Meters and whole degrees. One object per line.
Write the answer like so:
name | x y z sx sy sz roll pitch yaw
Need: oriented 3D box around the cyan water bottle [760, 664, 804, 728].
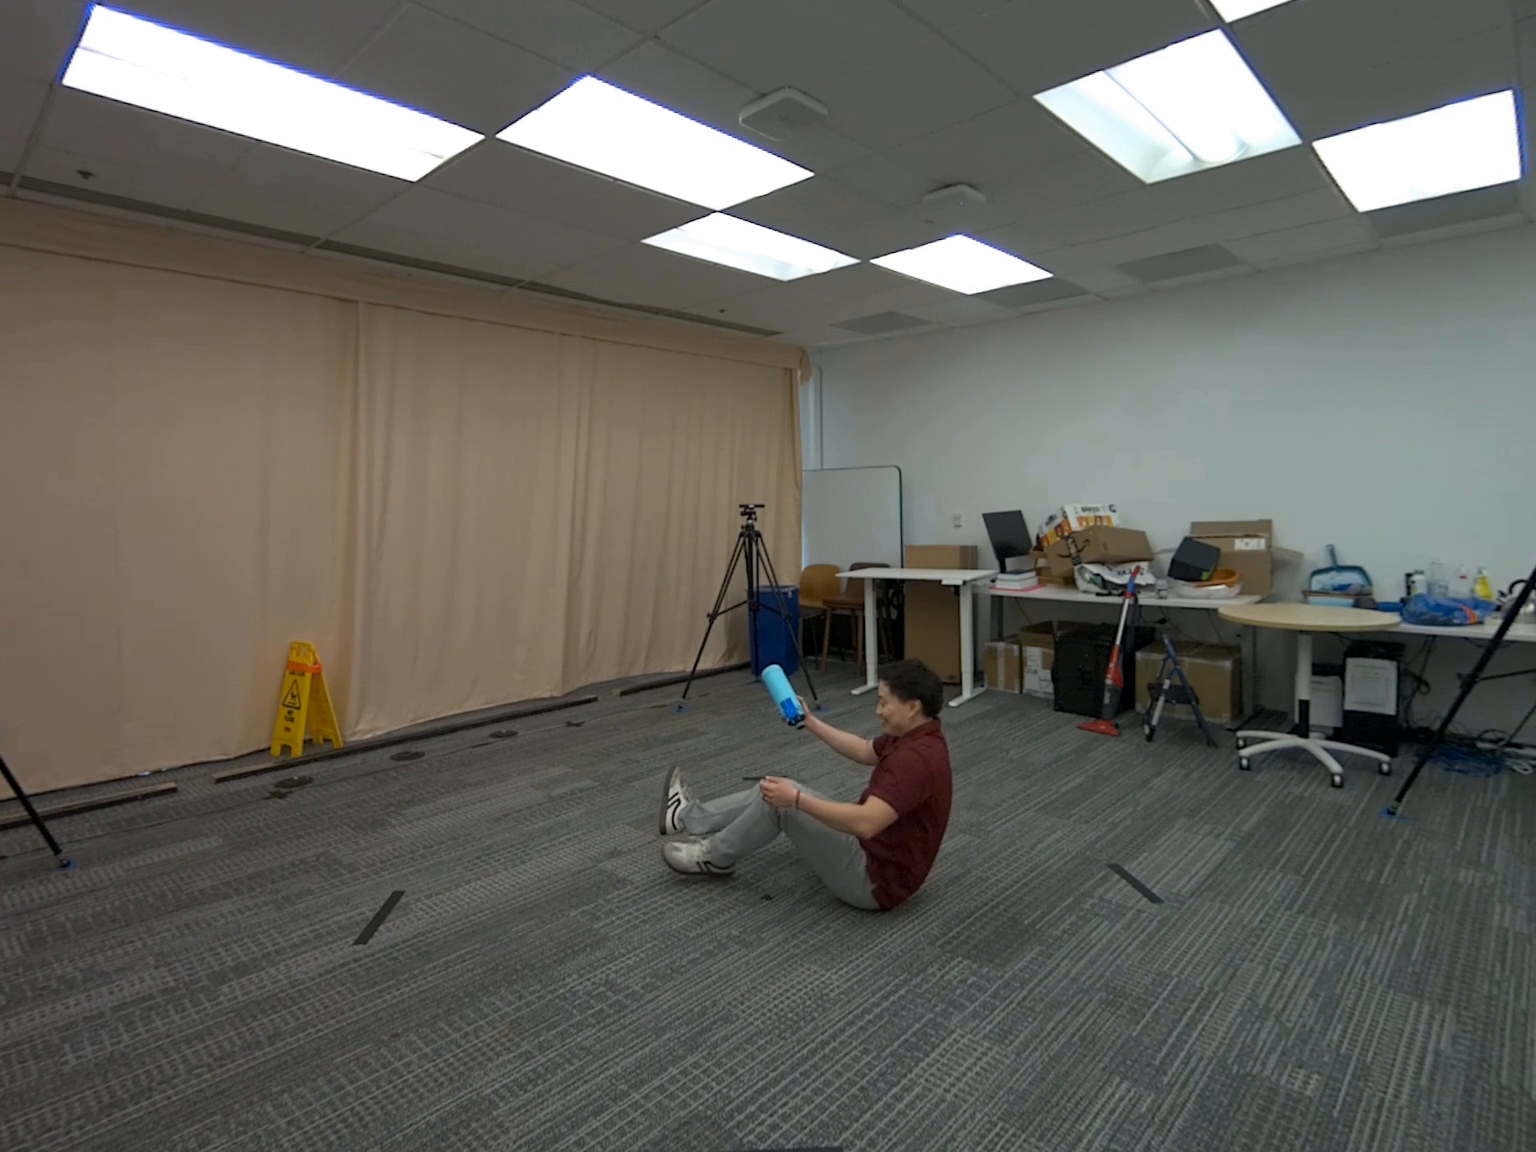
cyan water bottle | 0.058 0.499 3.373 0.090 0.091 0.292 -3 41 -25
